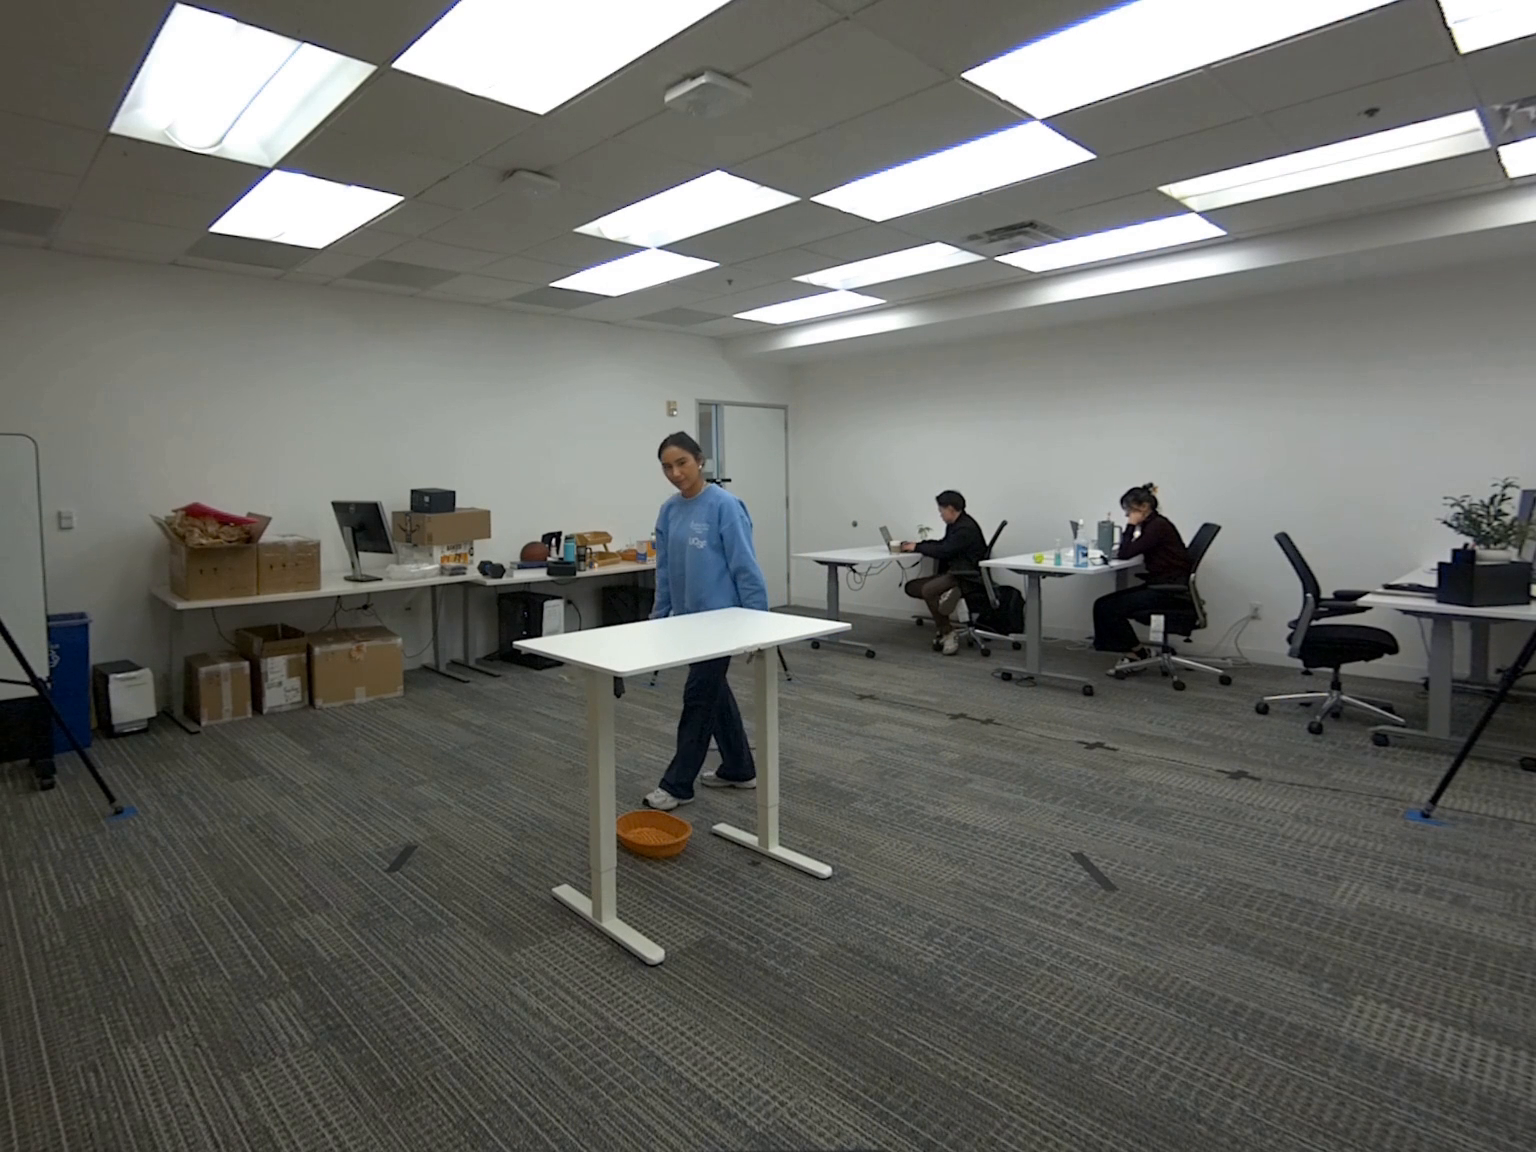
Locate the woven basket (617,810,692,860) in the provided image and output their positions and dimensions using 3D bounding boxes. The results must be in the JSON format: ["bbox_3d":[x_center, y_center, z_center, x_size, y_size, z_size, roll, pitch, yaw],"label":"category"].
[{"bbox_3d":[-0.439,0.988,3.276,0.246,0.073,0.361,-8,9,-42],"label":"woven basket"}]
